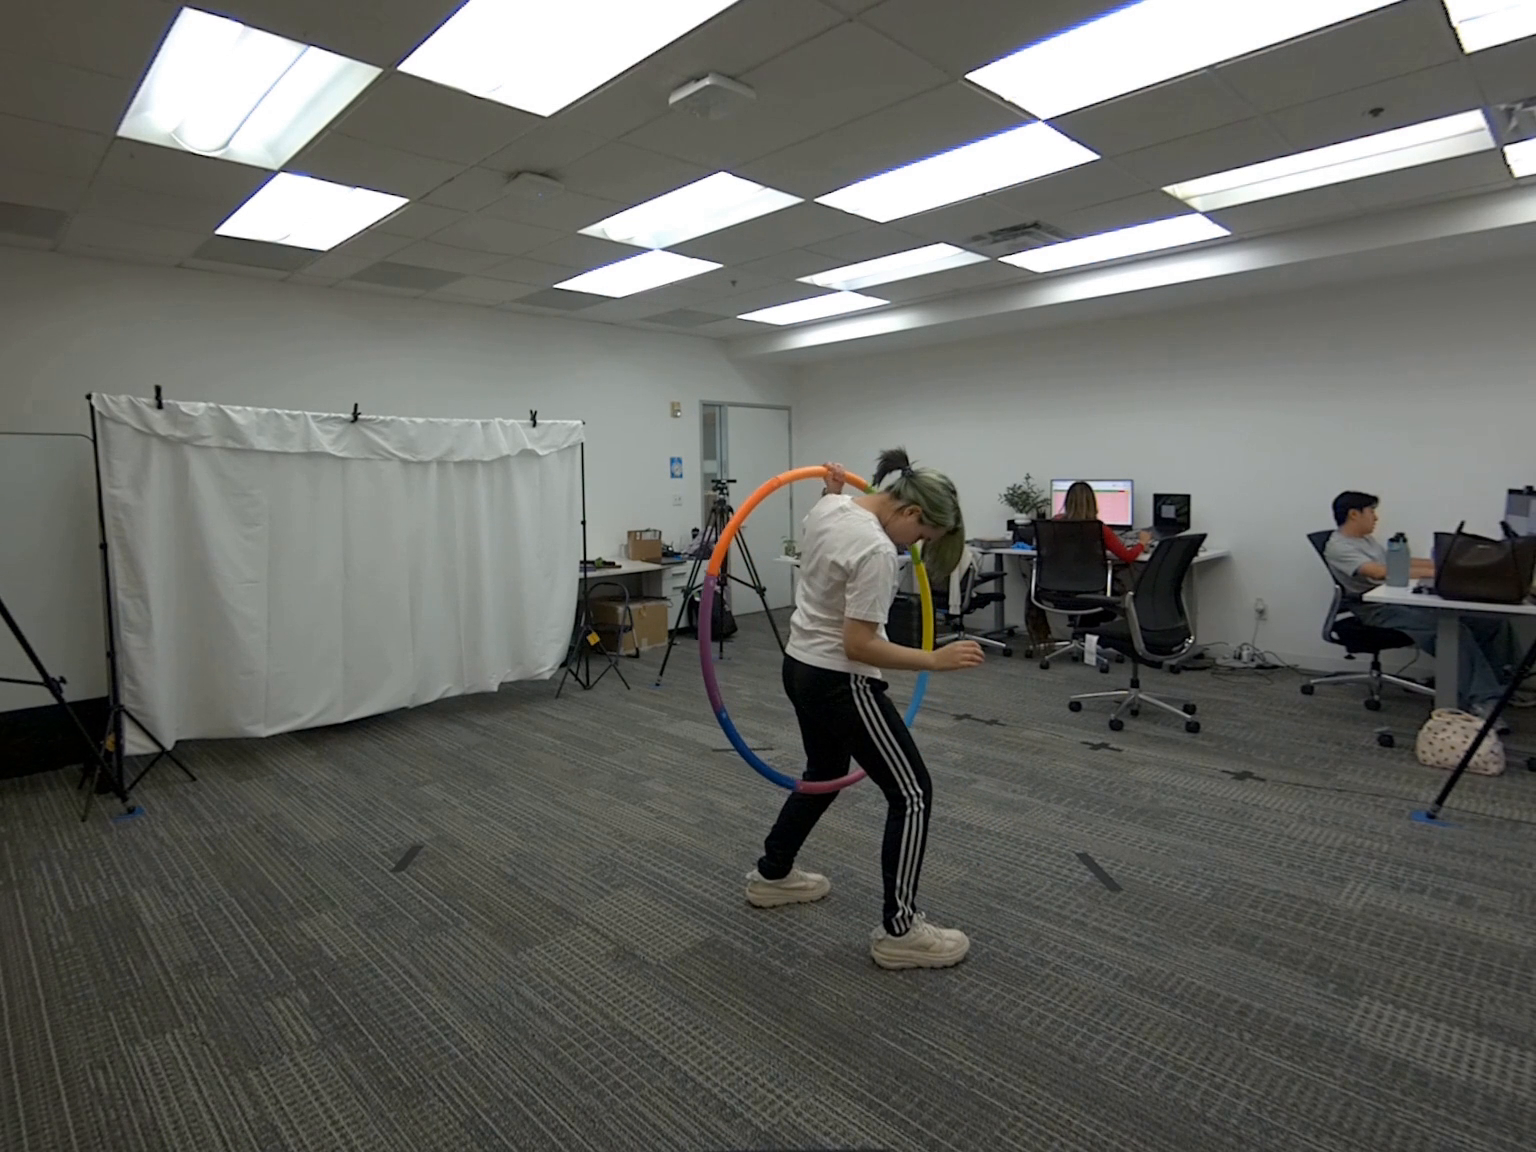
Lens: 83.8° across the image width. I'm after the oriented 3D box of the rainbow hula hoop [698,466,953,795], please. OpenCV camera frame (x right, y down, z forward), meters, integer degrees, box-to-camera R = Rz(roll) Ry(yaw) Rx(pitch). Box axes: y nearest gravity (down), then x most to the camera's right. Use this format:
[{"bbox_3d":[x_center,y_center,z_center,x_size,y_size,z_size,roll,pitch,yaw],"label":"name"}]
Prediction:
[{"bbox_3d":[0.185,0.158,2.633,0.953,0.979,0.036,-5,0,-39],"label":"rainbow hula hoop"}]
